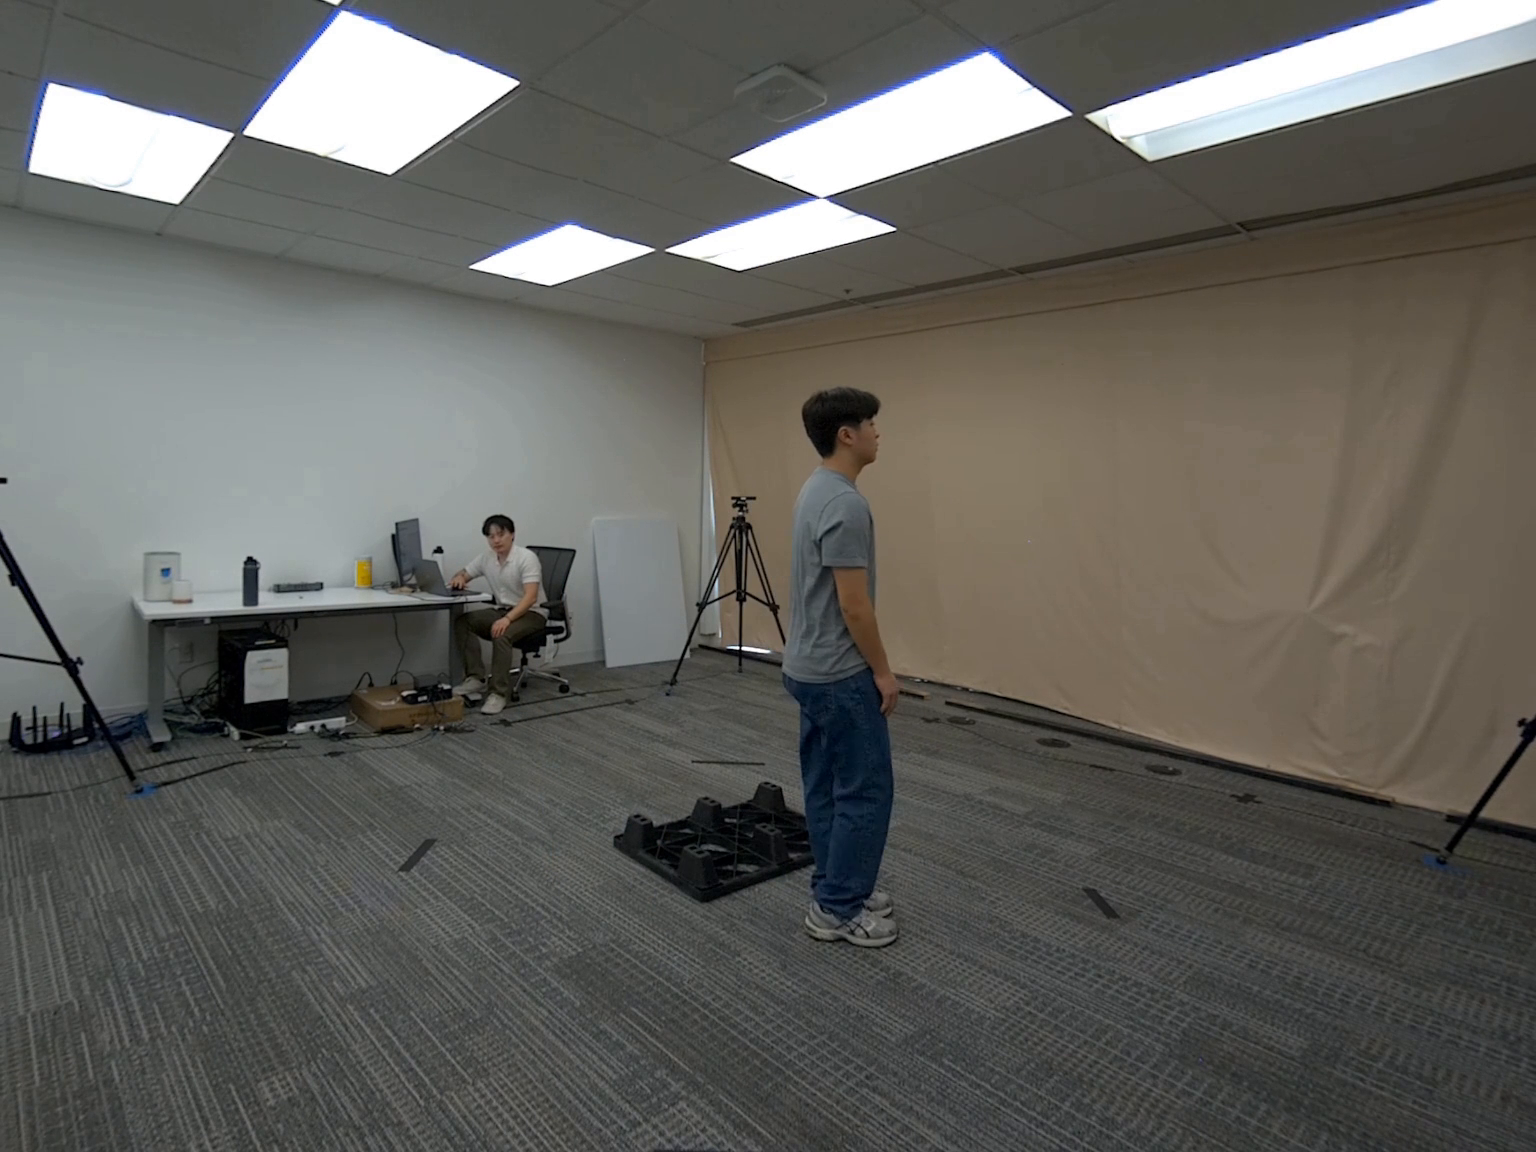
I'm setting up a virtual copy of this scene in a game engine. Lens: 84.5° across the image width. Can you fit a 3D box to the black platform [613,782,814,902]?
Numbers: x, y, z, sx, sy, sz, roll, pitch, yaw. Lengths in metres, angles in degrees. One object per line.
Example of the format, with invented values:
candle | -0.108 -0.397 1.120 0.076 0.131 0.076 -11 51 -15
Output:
black platform | -0.133 1.018 3.362 0.787 0.143 0.621 -3 7 -41
